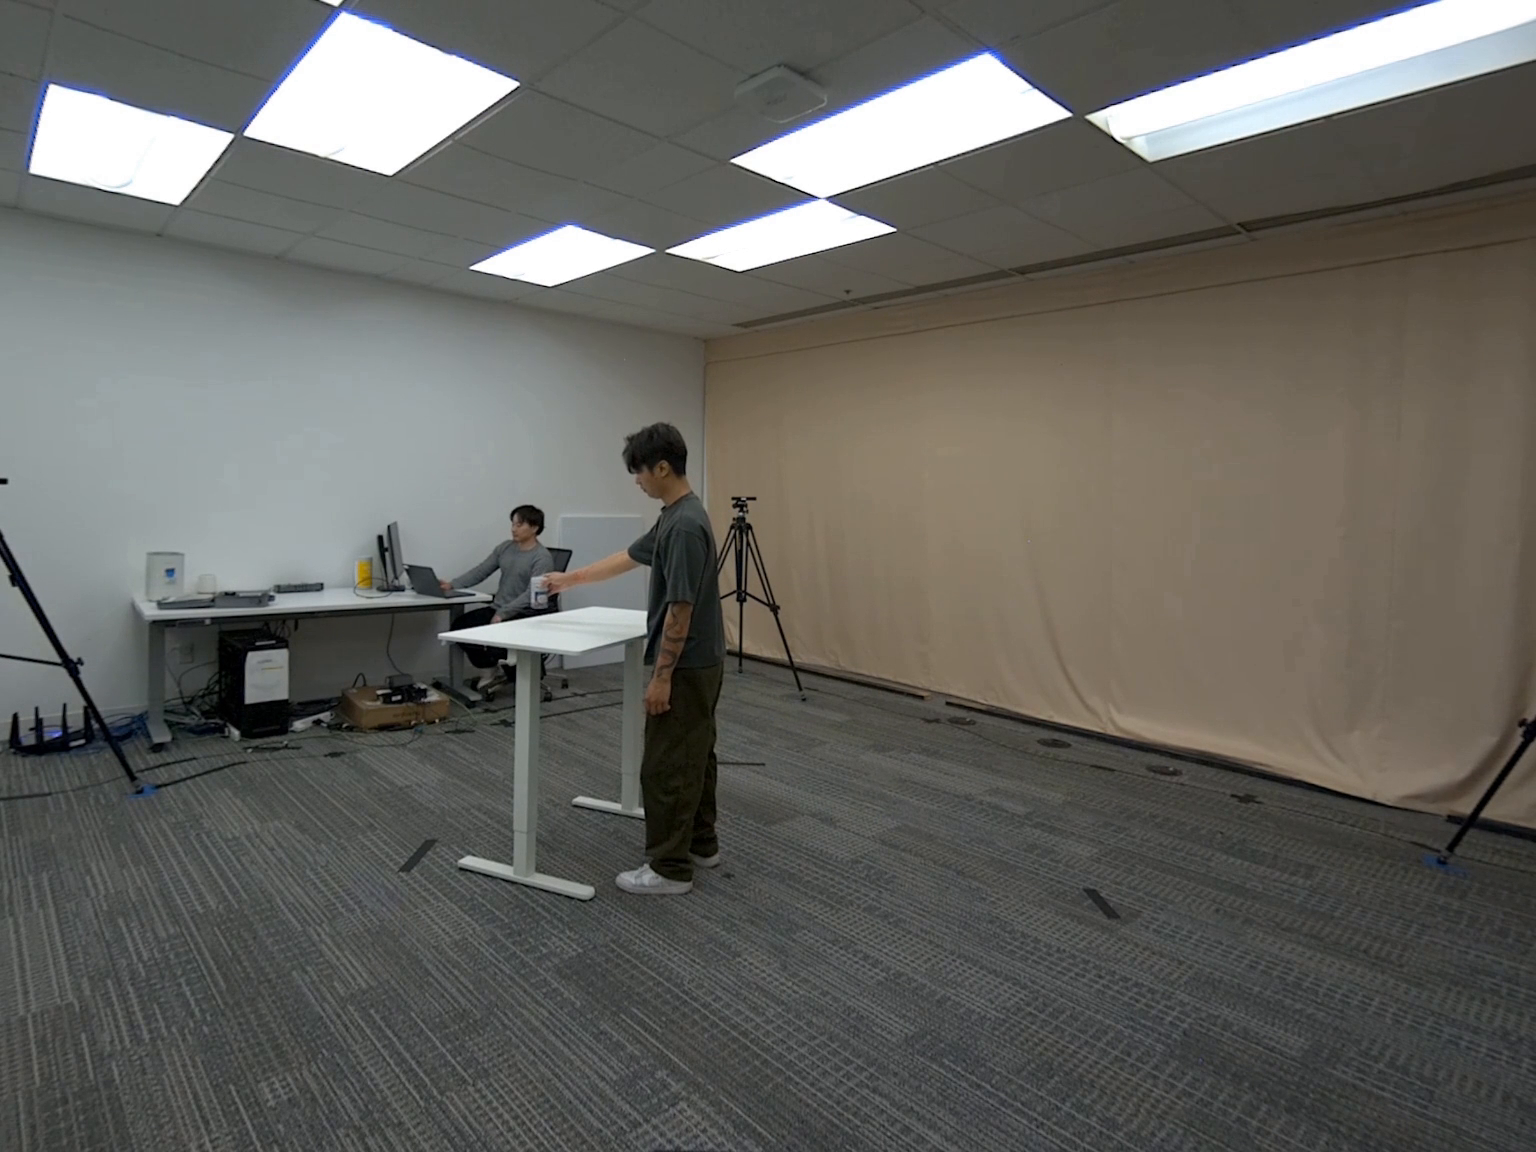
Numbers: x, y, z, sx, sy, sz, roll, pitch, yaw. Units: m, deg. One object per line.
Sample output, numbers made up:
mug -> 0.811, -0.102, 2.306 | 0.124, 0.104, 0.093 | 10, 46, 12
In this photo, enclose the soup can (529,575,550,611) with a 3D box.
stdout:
soup can -> -0.917, 0.065, 3.354 | 0.067, 0.121, 0.067 | 0, 6, -1
